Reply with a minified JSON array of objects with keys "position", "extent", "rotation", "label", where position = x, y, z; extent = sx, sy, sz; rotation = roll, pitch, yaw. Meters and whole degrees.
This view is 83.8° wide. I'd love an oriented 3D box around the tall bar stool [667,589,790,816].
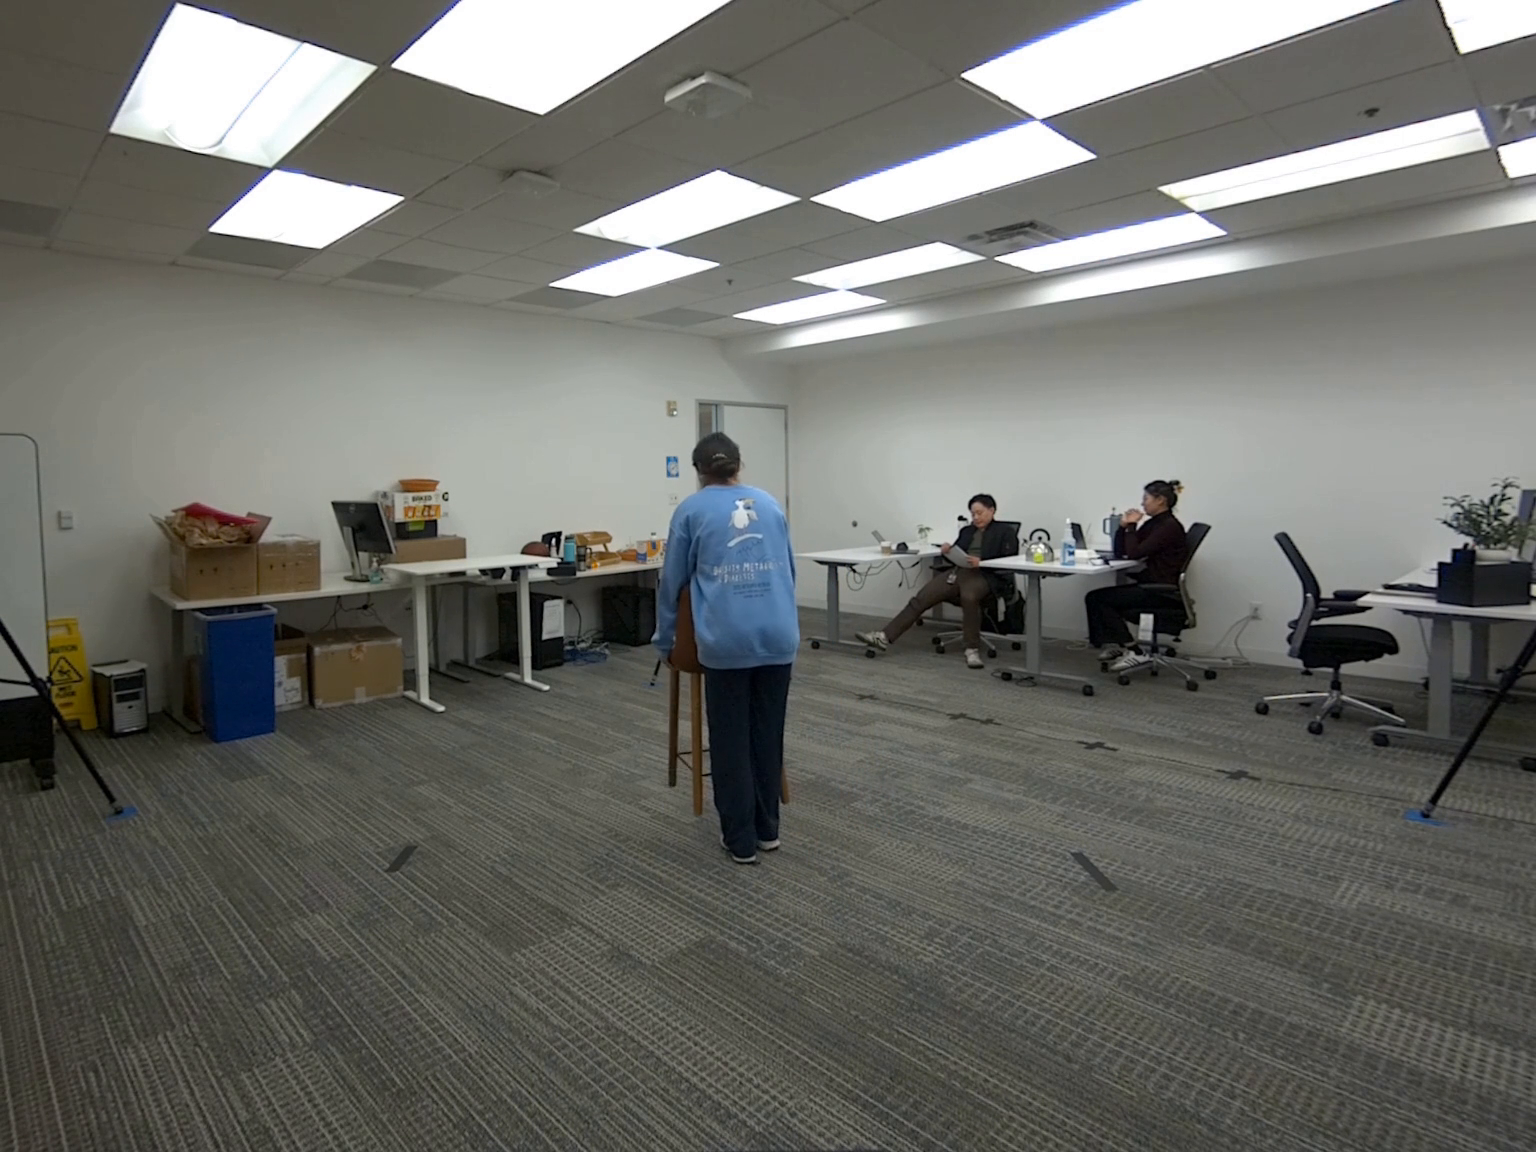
[{"position":[-0.183,0.456,3.466],"extent":[0.449,0.889,0.475],"rotation":[-3,1,-18],"label":"tall bar stool"}]
